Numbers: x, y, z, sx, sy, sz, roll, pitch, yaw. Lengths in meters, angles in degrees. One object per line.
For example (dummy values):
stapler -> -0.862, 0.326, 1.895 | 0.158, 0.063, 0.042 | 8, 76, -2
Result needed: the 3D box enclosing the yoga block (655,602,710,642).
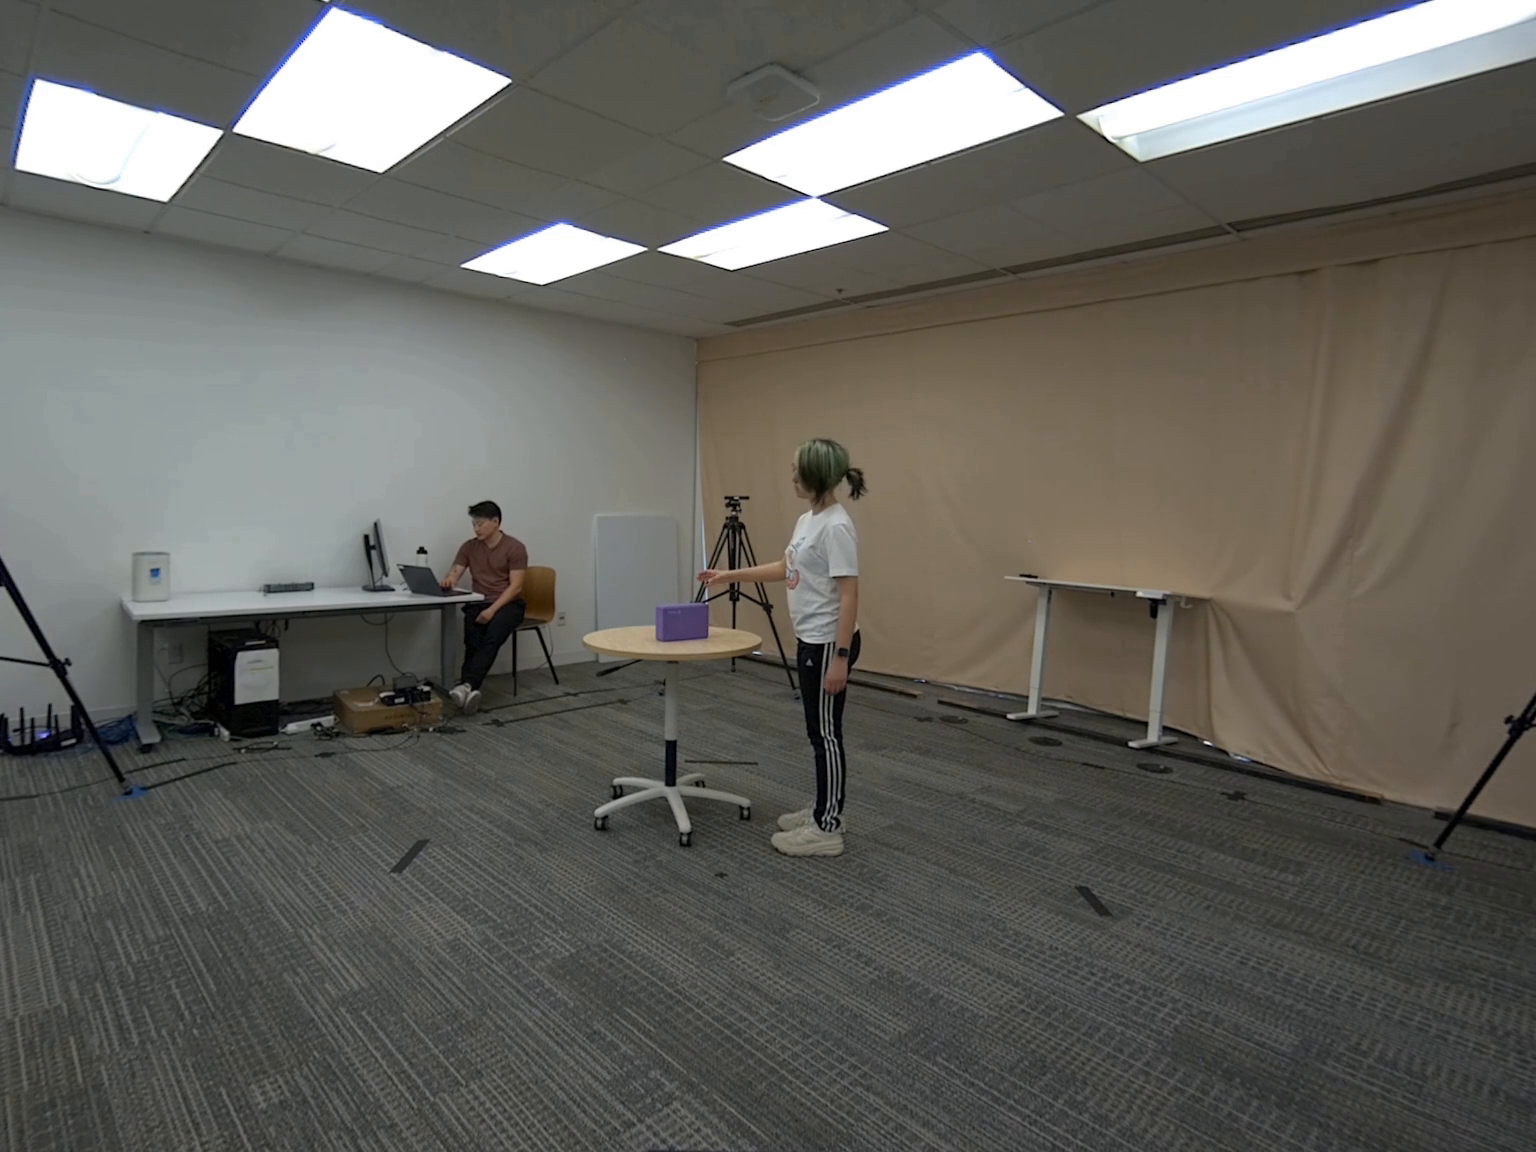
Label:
yoga block -> -0.370, 0.193, 3.602 | 0.224, 0.149, 0.078 | -2, 4, -36
